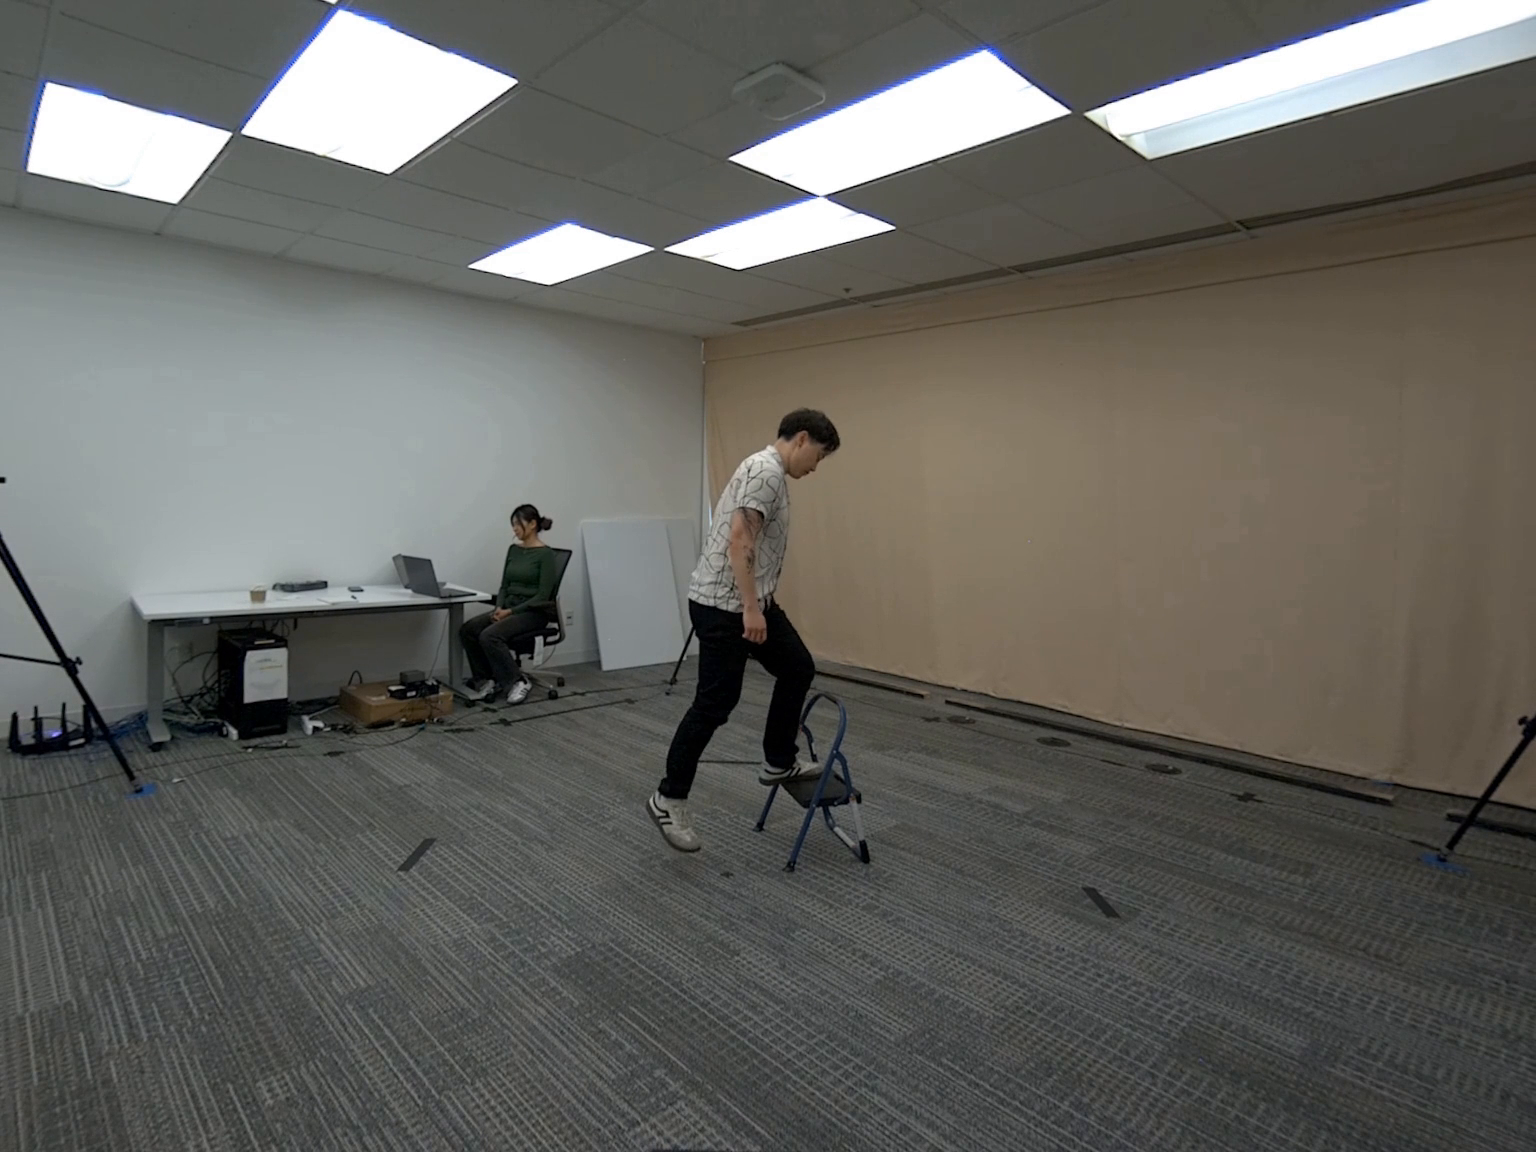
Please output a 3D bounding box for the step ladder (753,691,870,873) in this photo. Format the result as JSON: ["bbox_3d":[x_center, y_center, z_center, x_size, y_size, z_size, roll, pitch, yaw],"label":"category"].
[{"bbox_3d":[0.170,0.785,3.366,0.345,0.605,0.437,1,3,-17],"label":"step ladder"}]
